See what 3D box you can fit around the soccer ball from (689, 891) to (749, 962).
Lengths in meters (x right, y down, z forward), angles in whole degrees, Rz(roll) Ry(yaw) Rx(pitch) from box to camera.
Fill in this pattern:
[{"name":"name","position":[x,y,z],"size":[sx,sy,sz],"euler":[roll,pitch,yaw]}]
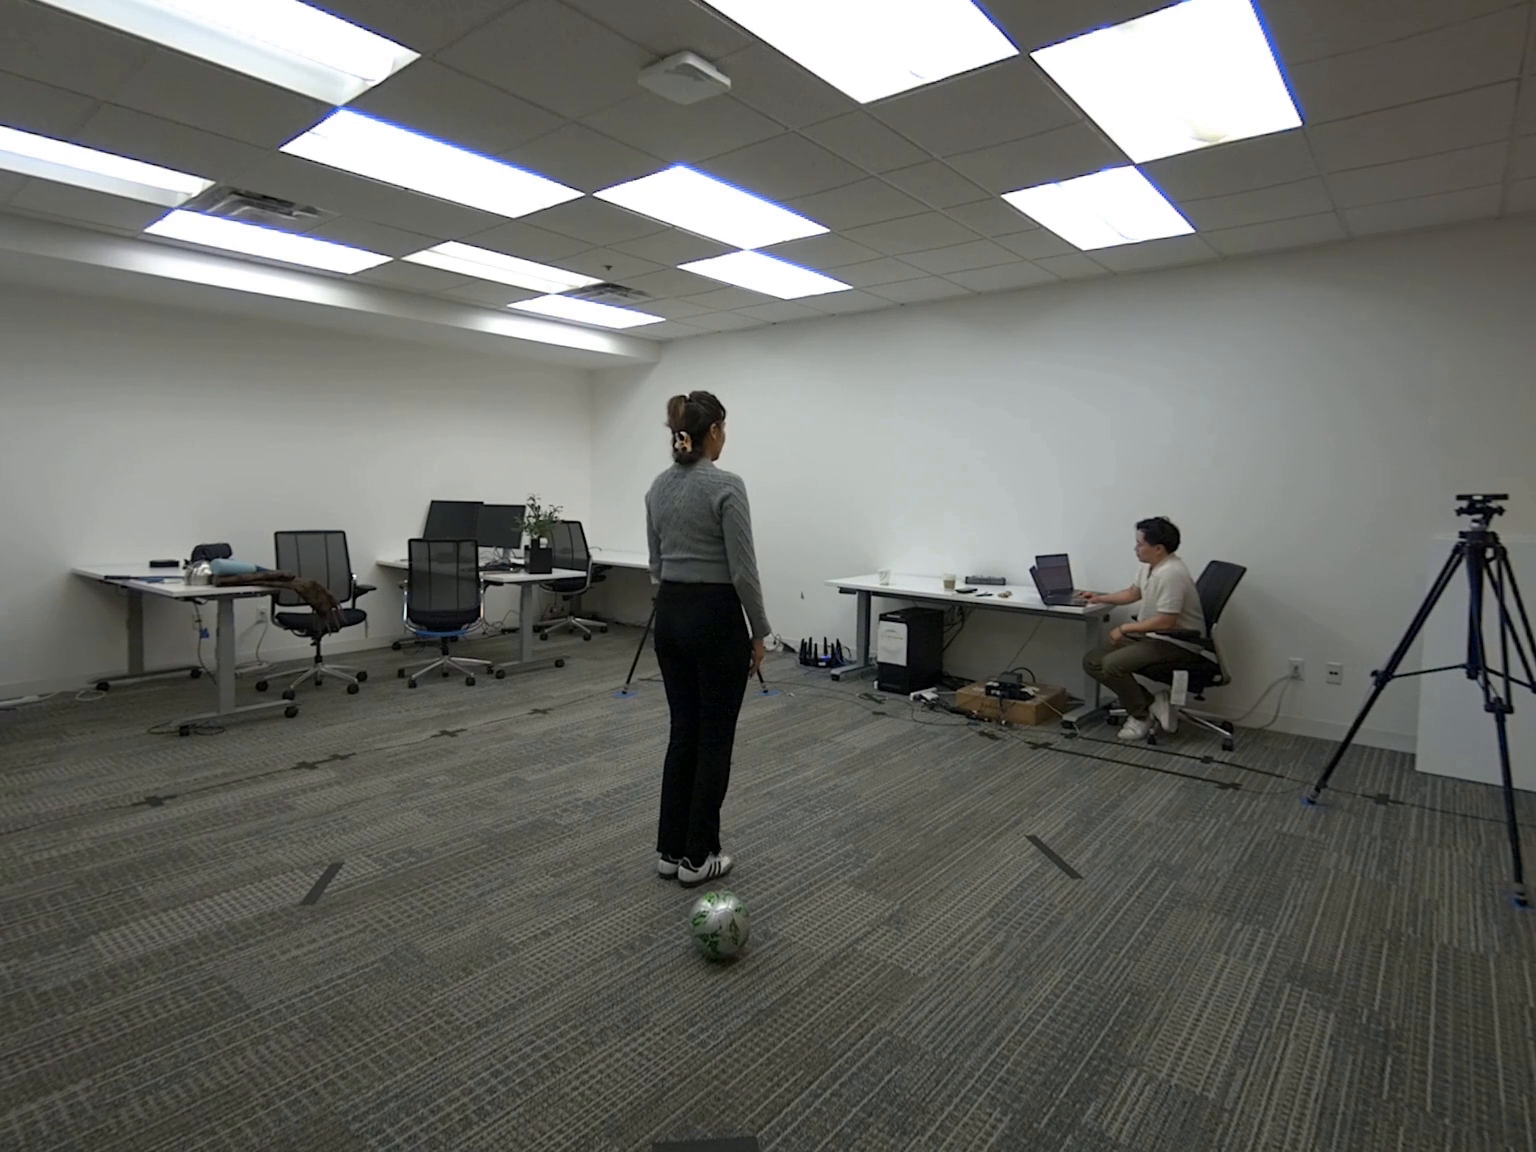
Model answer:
[{"name":"soccer ball","position":[-0.150,1.029,2.527],"size":[0.187,0.187,0.188],"euler":[0,4,-2]}]
